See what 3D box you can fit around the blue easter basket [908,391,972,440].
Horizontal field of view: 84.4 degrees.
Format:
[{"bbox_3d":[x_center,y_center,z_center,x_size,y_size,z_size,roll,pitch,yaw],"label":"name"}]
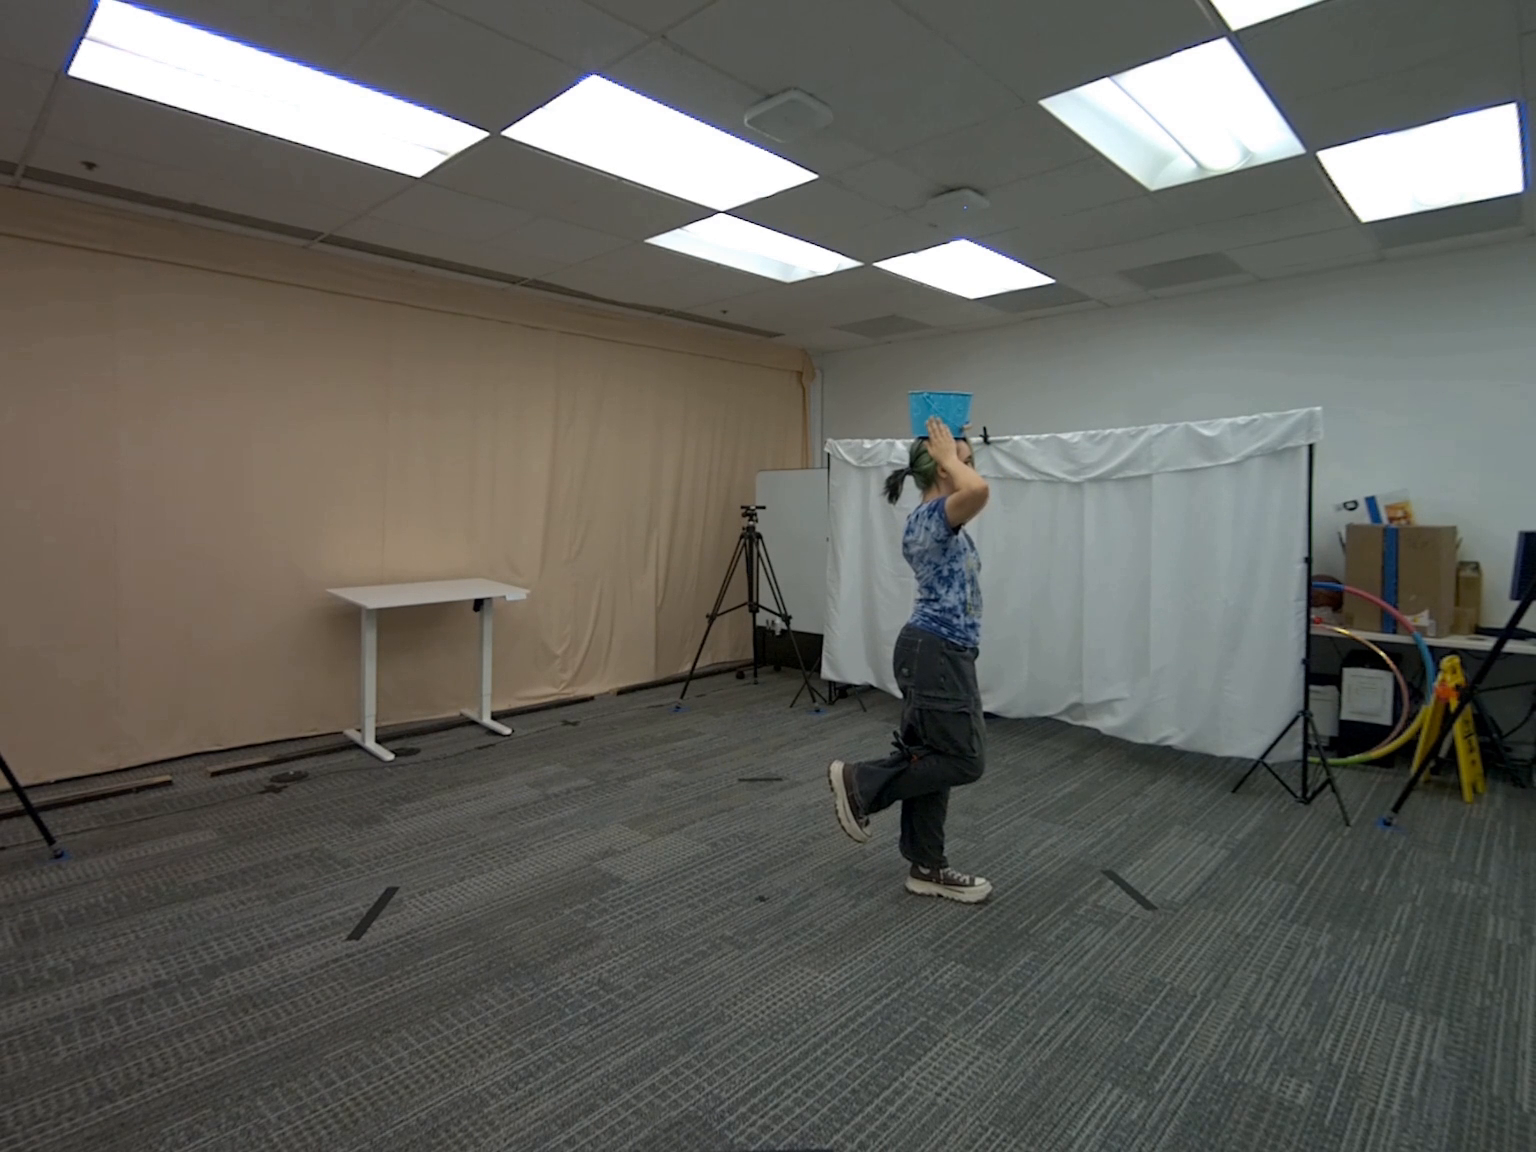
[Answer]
[{"bbox_3d":[0.622,-0.566,2.991,0.243,0.155,0.245,2,10,-2],"label":"blue easter basket"}]
